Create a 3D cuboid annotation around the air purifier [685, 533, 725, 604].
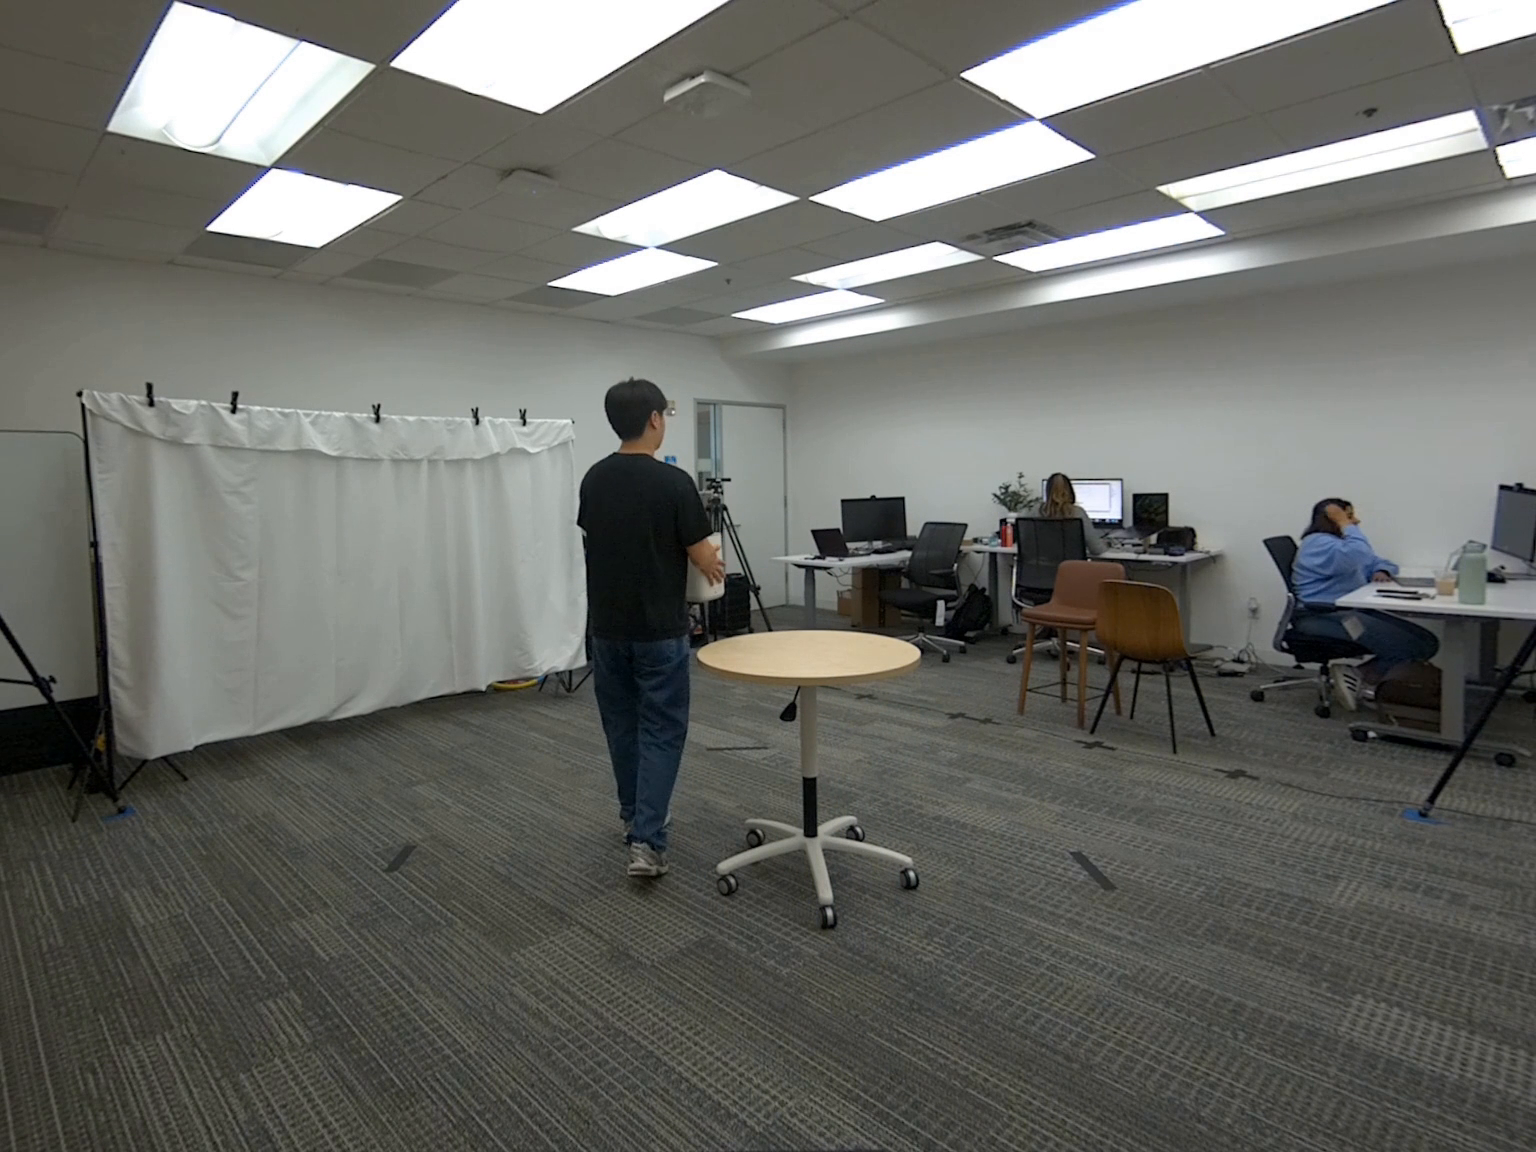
[{"bbox_3d":[-0.282,-0.037,3.465,0.176,0.264,0.167,1,8,38],"label":"air purifier"}]
